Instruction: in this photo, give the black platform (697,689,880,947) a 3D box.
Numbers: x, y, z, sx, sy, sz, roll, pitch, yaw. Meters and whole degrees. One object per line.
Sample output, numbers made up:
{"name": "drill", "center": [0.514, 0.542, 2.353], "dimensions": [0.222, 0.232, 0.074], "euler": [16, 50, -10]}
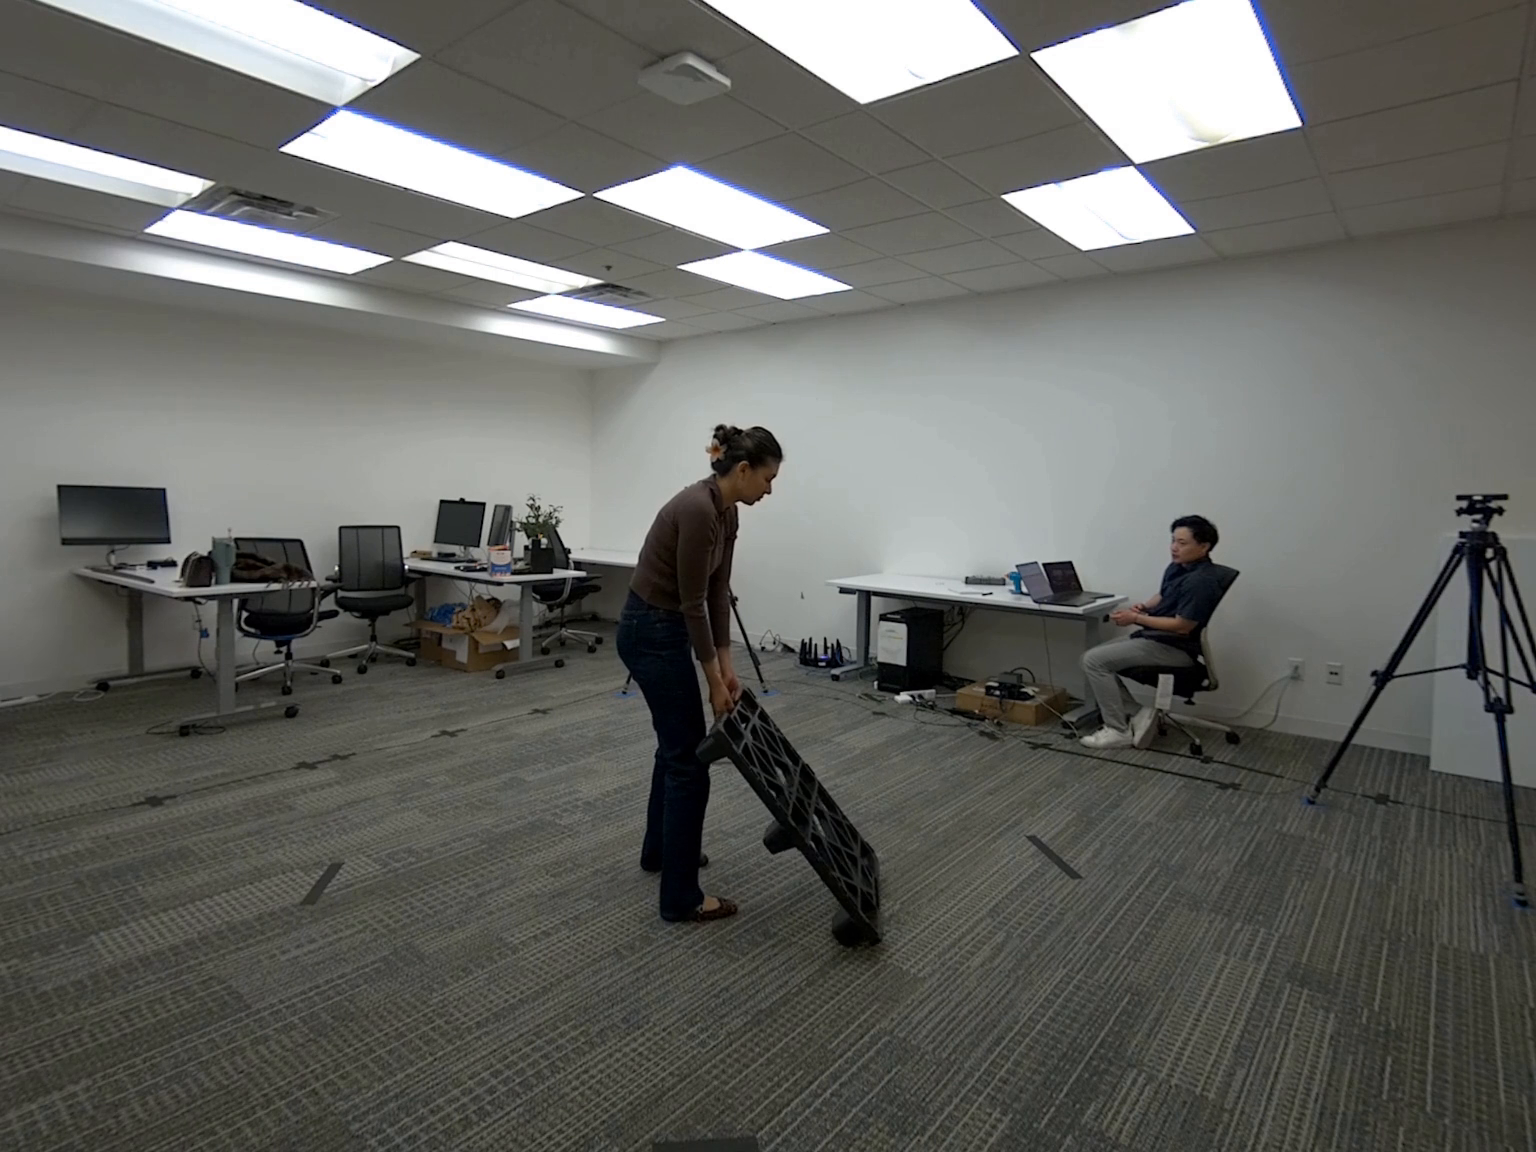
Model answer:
{"name": "black platform", "center": [0.069, 0.769, 2.836], "dimensions": [0.143, 0.810, 0.601], "euler": [-38, -2, 7]}
